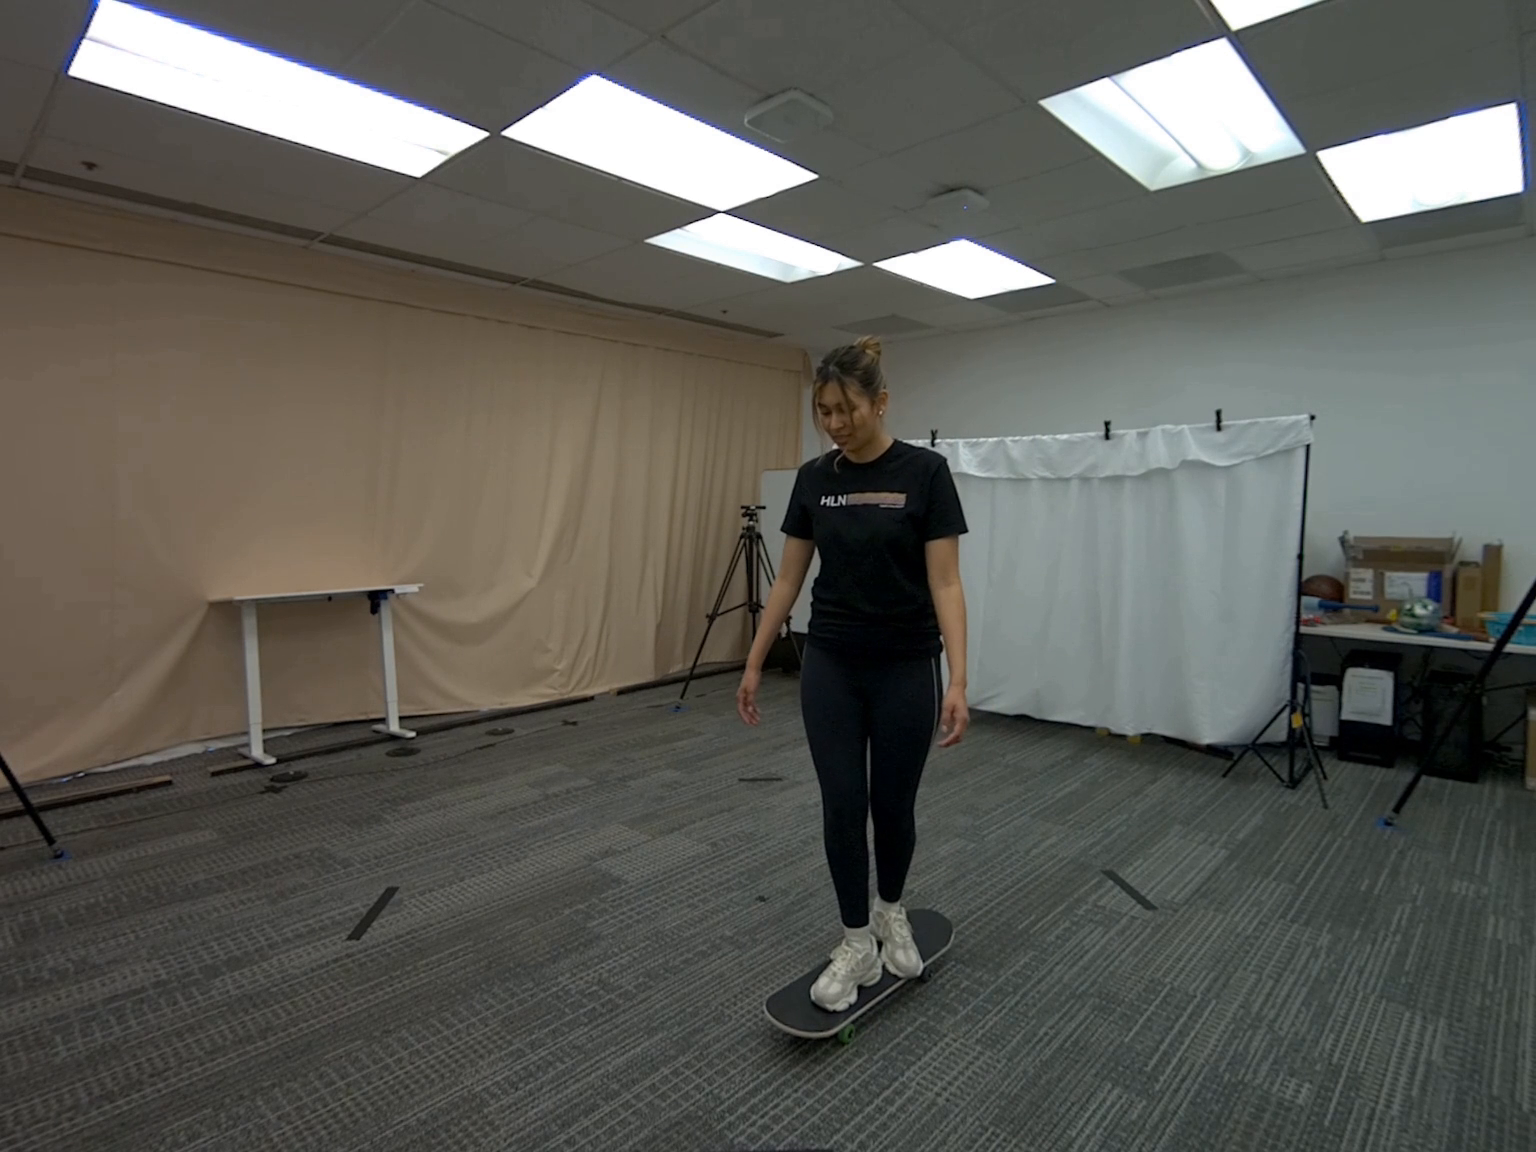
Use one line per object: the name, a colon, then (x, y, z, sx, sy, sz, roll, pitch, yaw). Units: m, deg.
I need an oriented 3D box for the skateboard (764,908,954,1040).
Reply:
skateboard: (0.283, 1.144, 2.377, 0.200, 0.110, 0.761, 12, 12, 42)
